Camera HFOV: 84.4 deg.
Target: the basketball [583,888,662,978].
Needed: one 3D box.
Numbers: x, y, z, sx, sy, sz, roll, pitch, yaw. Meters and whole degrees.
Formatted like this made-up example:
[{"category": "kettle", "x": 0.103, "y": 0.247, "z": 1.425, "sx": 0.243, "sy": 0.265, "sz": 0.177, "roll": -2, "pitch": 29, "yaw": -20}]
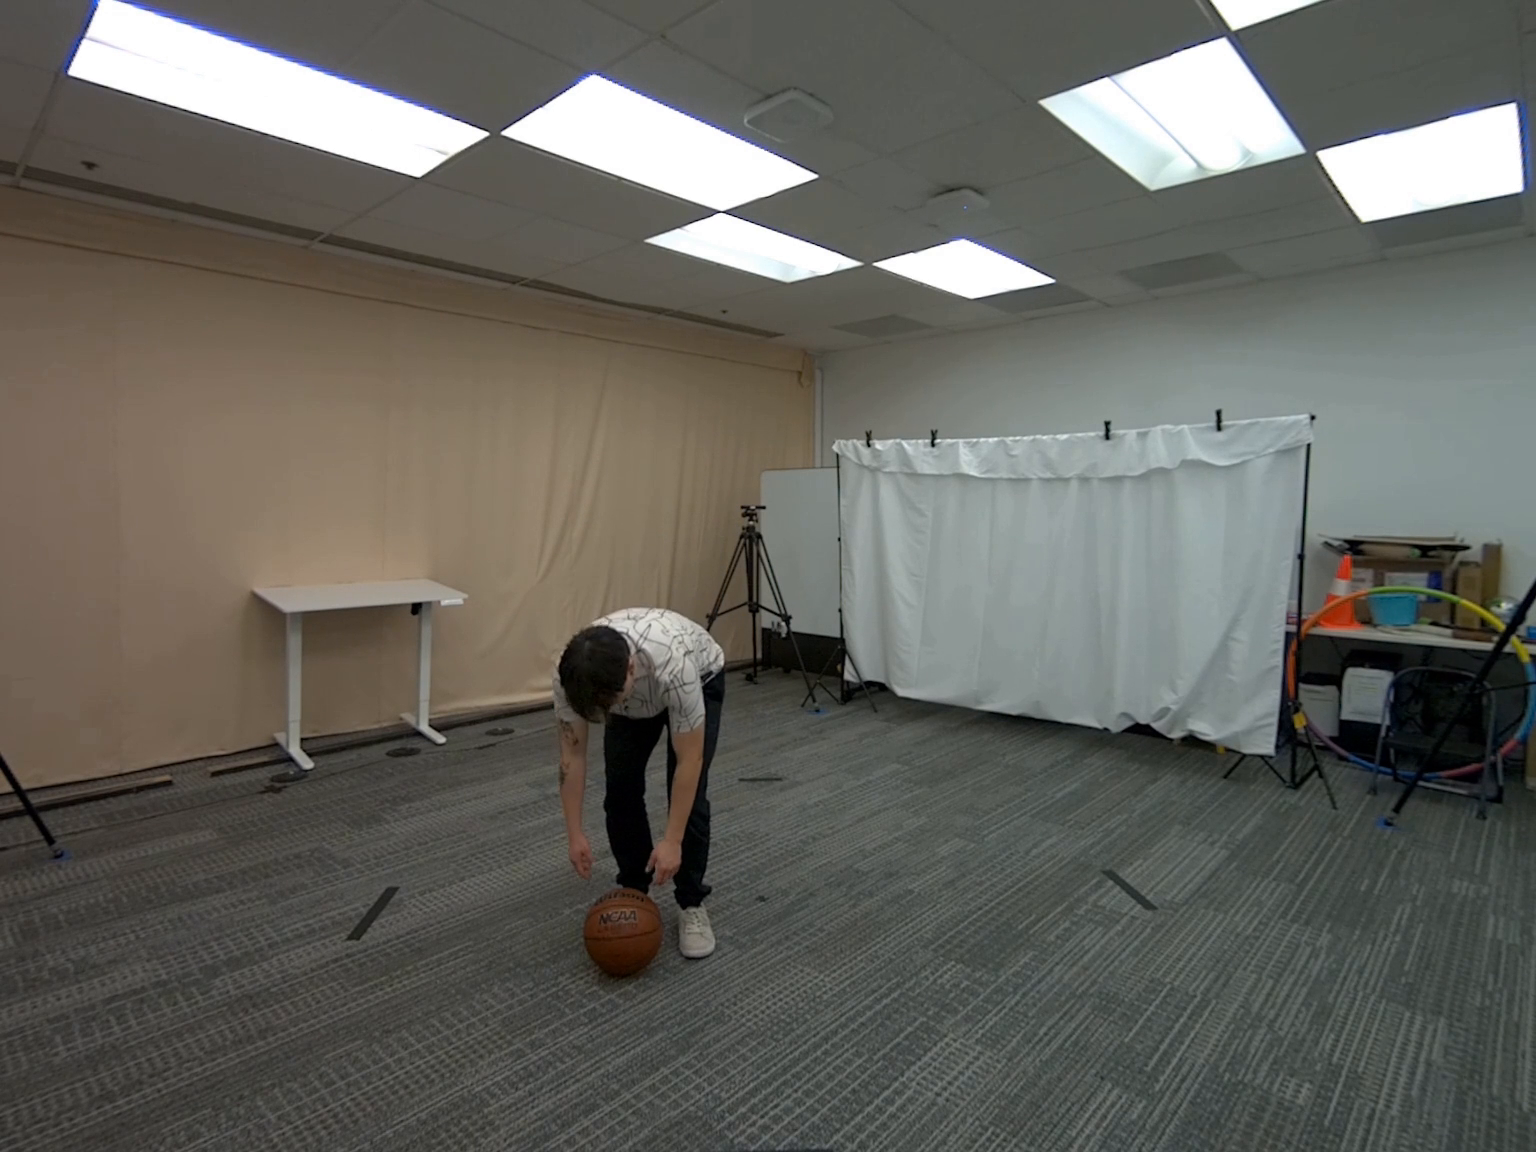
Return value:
[{"category": "basketball", "x": -0.426, "y": 1.059, "z": 2.525, "sx": 0.236, "sy": 0.235, "sz": 0.237, "roll": 0, "pitch": 4, "yaw": -2}]
